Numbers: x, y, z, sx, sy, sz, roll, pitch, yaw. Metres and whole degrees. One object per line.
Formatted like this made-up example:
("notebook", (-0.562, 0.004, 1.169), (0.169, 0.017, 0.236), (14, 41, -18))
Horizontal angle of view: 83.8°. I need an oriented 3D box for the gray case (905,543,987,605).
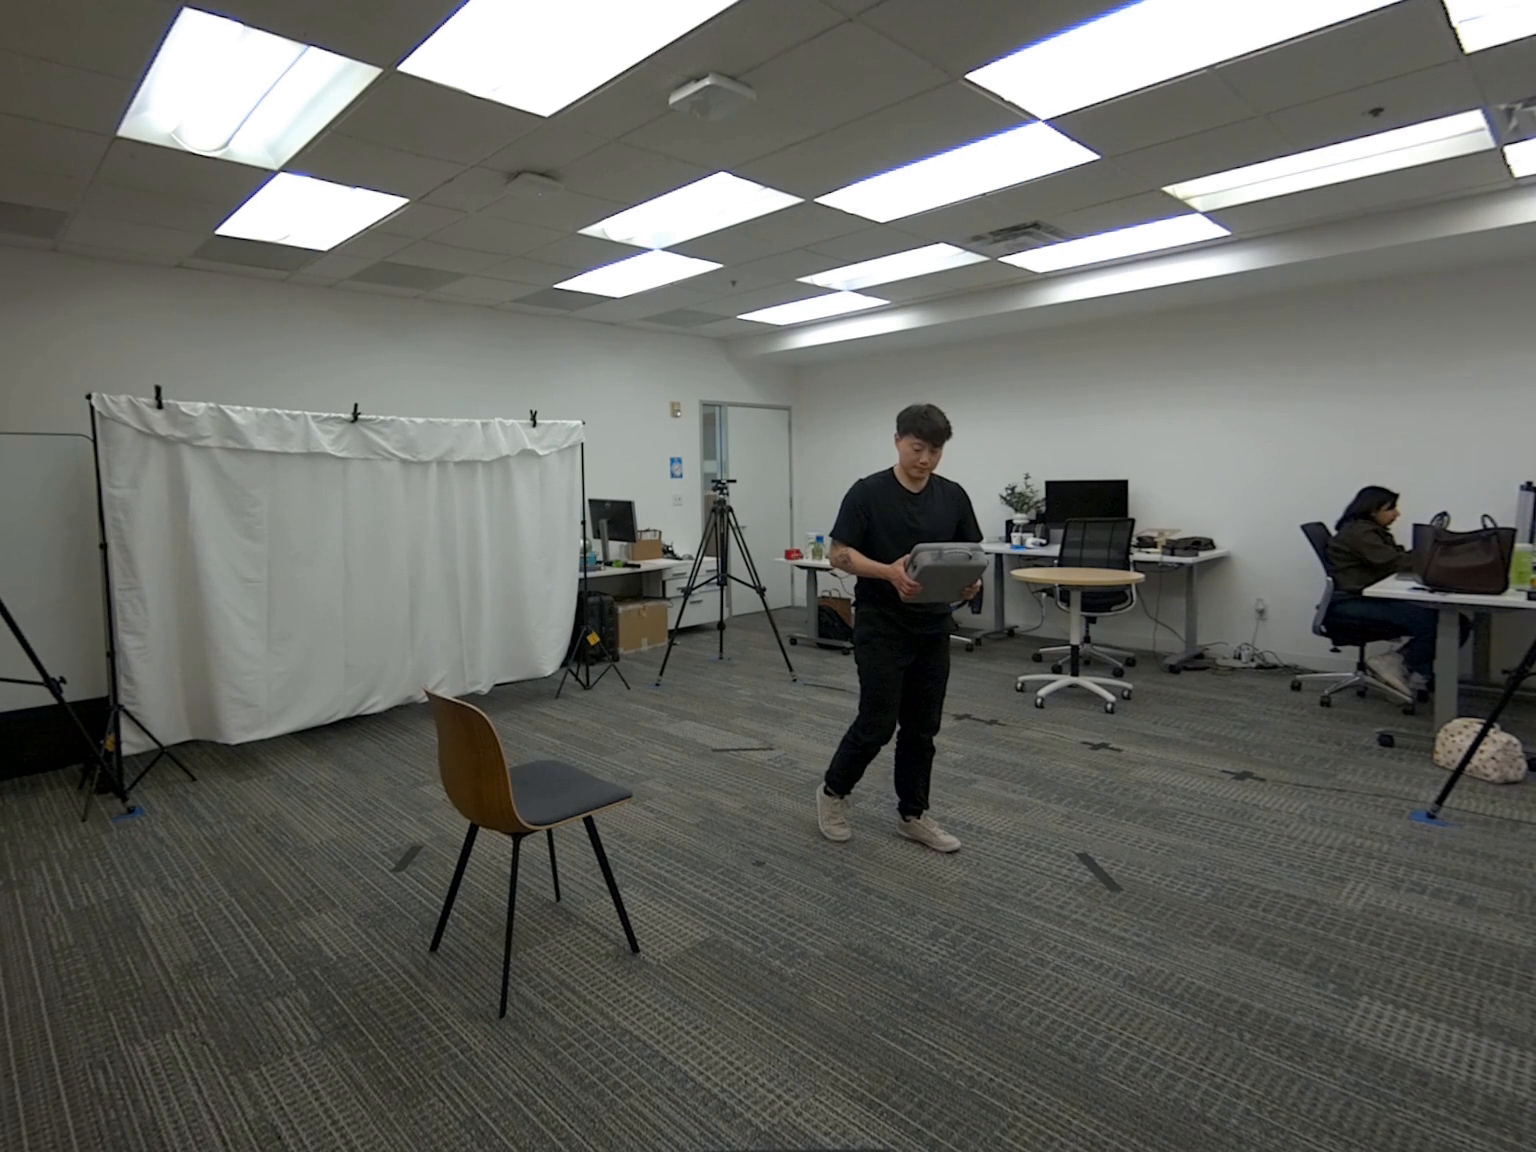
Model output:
("gray case", (0.603, -0.016, 2.981), (0.254, 0.107, 0.256), (1, -32, -12))
